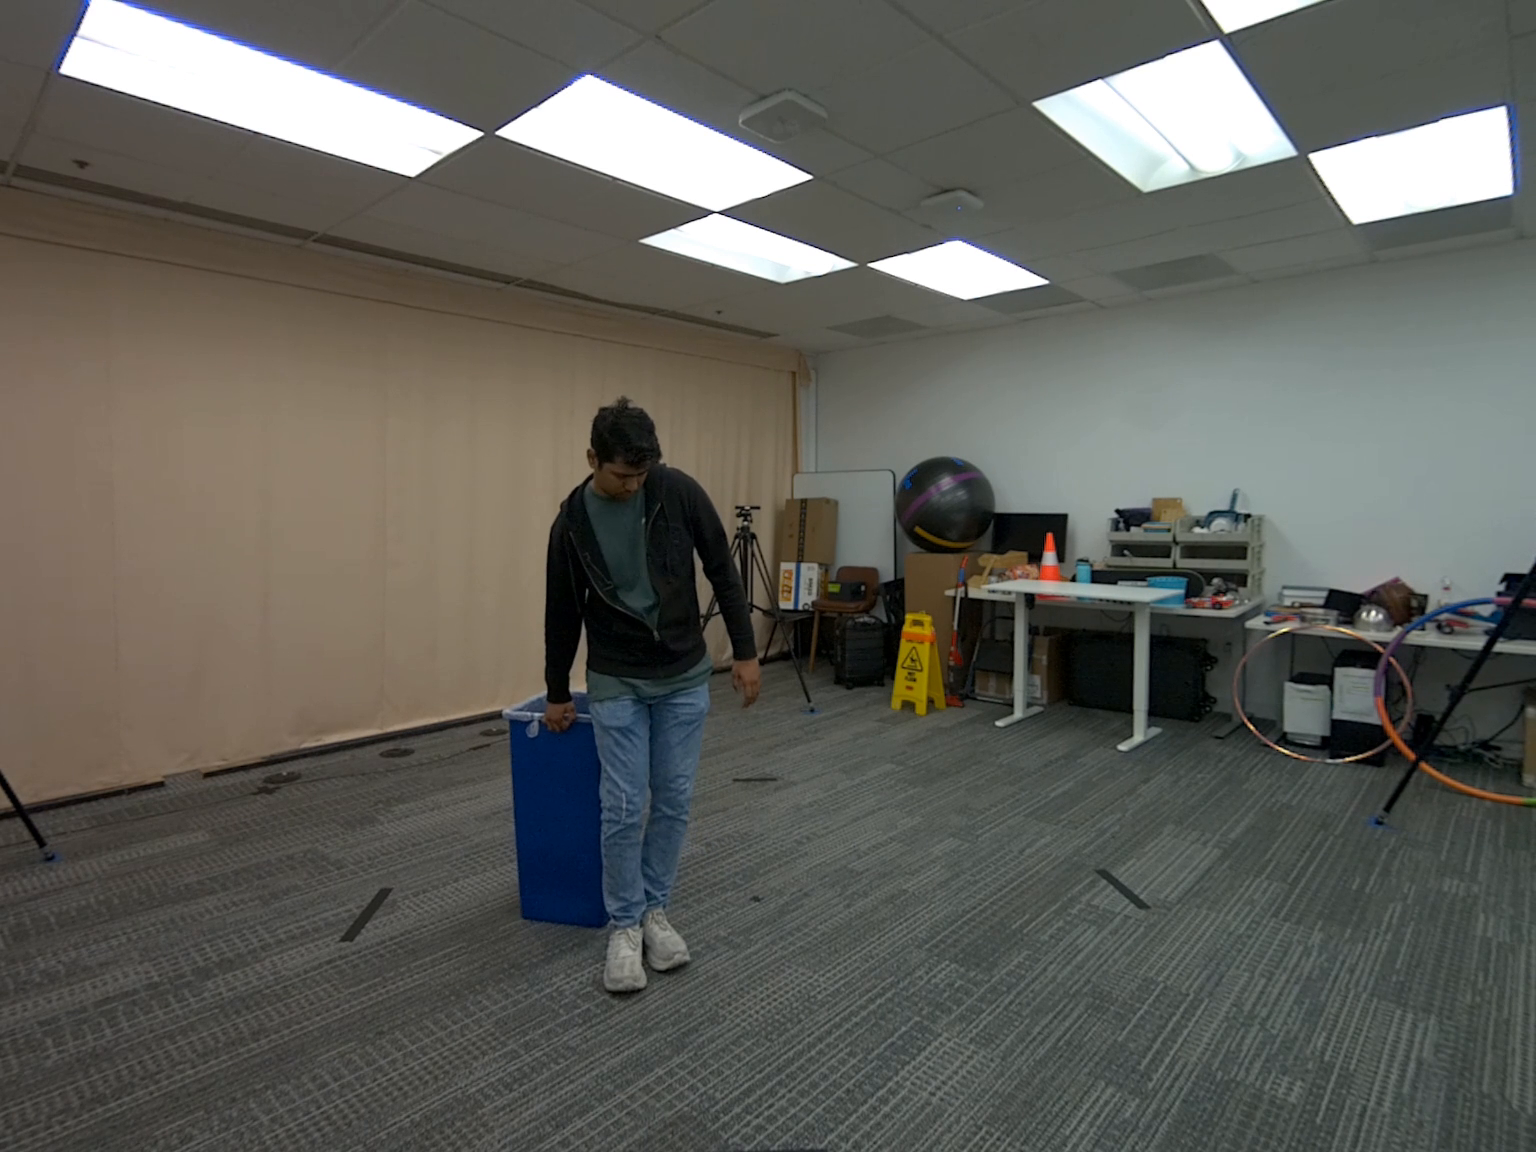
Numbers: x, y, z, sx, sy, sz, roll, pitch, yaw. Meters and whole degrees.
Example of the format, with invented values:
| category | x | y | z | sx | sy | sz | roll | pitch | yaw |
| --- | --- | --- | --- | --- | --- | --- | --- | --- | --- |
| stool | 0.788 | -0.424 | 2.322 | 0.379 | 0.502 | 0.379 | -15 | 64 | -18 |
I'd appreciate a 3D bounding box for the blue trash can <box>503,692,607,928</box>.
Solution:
| category | x | y | z | sx | sy | sz | roll | pitch | yaw |
| --- | --- | --- | --- | --- | --- | --- | --- | --- | --- |
| blue trash can | -0.662 | 0.792 | 2.940 | 0.380 | 0.712 | 0.373 | -1 | 2 | 14 |
